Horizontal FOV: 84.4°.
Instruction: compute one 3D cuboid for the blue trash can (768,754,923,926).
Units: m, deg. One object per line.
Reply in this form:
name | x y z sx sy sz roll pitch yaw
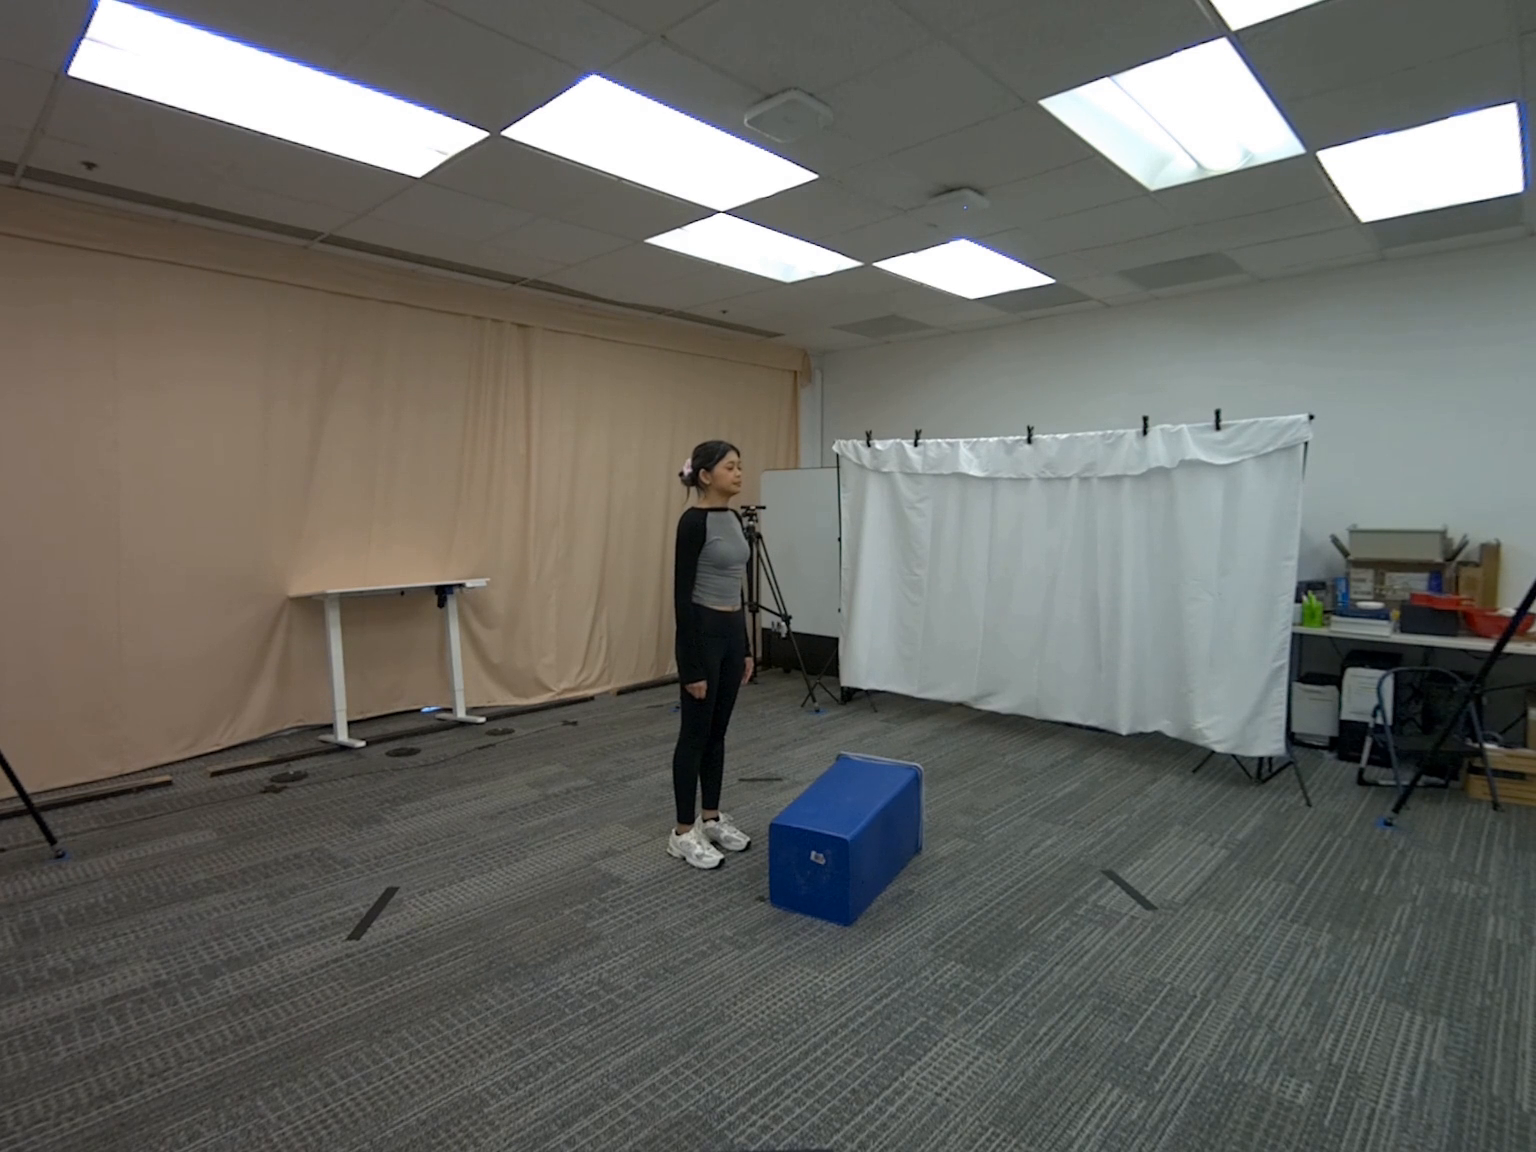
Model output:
blue trash can | 0.298 0.959 3.141 0.385 0.377 0.696 3 7 29
